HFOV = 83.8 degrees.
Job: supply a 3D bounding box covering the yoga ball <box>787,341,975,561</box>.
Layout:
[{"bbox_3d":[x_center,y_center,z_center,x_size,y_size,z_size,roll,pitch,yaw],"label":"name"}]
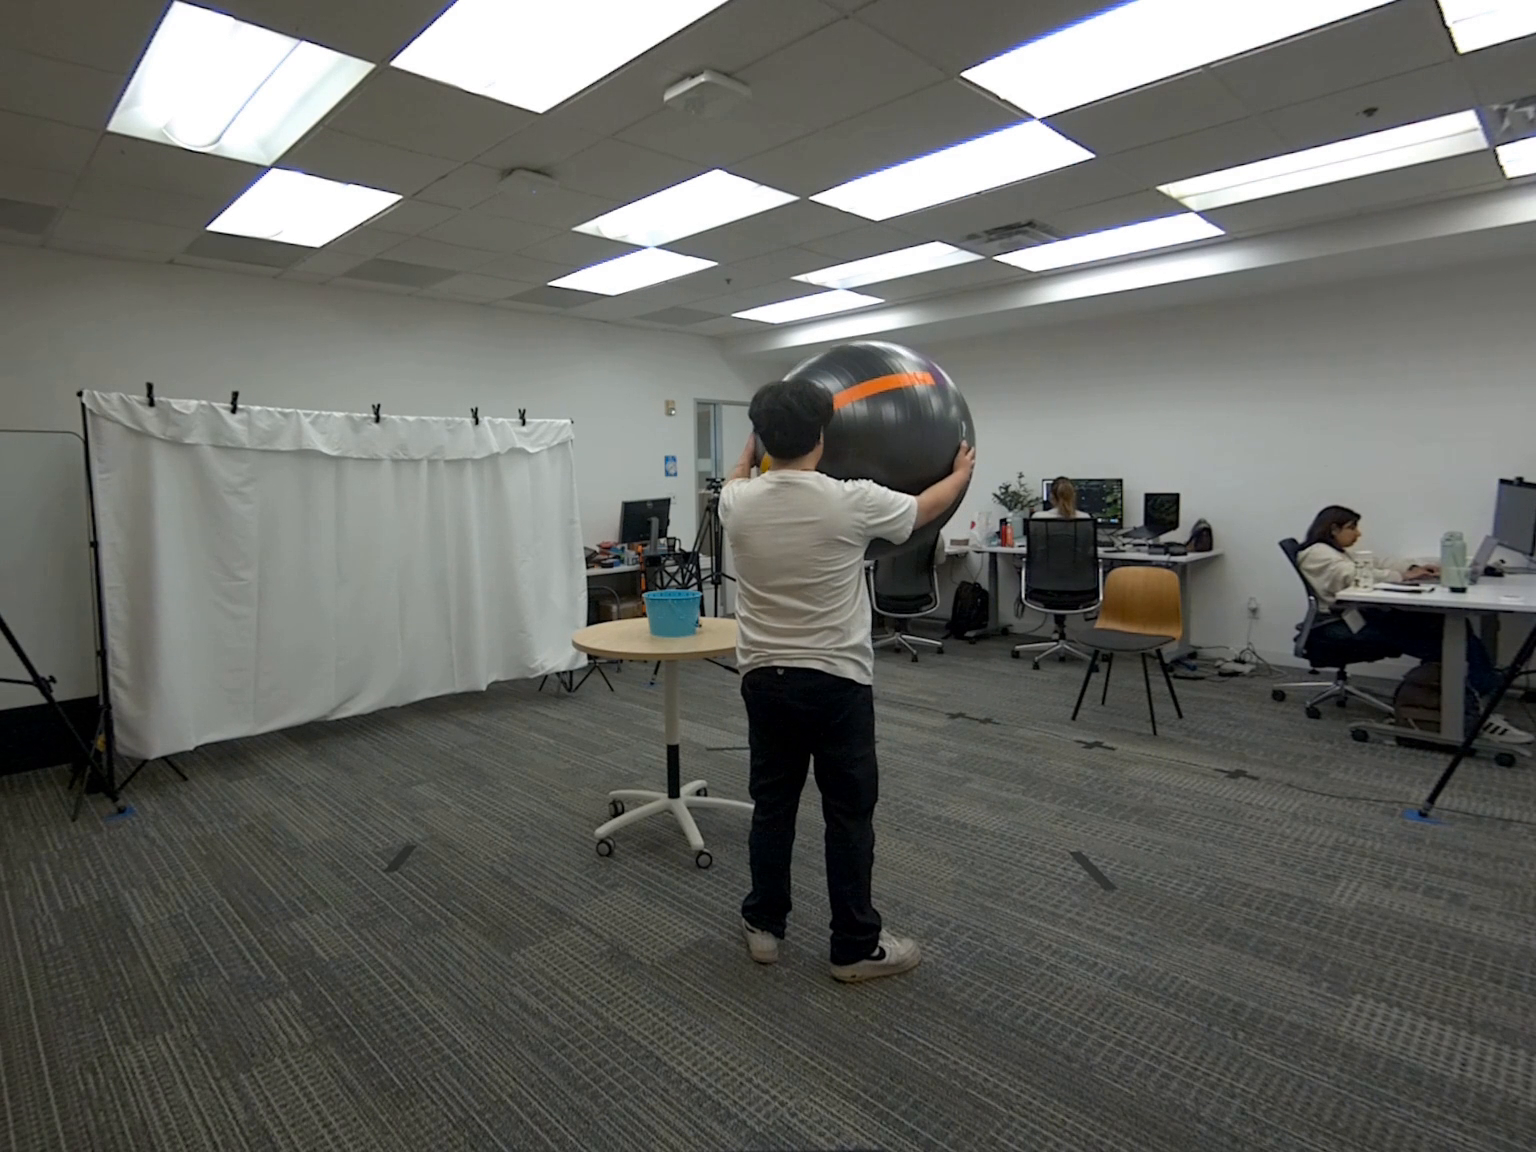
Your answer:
[{"bbox_3d":[0.332,-0.418,2.984,0.757,0.755,0.762,-1,5,-2],"label":"yoga ball"}]
